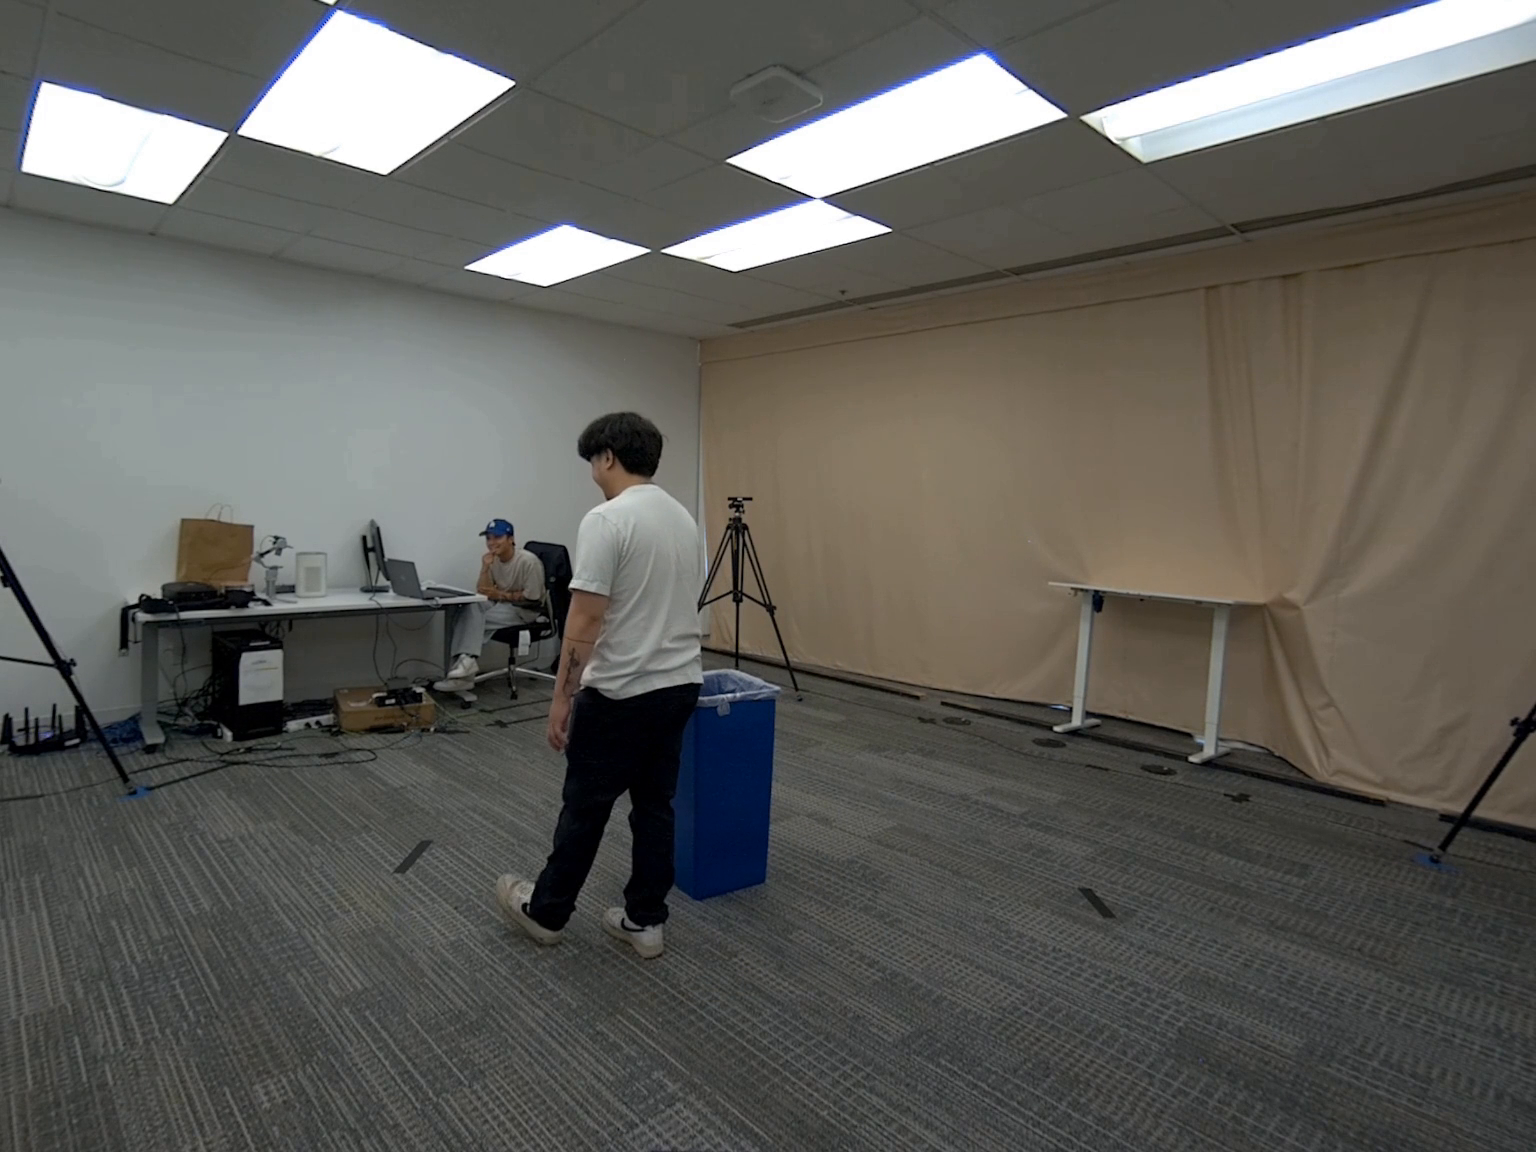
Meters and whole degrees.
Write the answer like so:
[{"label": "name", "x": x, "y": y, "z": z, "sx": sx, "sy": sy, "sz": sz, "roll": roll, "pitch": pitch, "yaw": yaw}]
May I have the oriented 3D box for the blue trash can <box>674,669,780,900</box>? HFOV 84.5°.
[{"label": "blue trash can", "x": -0.214, "y": 0.748, "z": 3.095, "sx": 0.370, "sy": 0.712, "sz": 0.383, "roll": -1, "pitch": 4, "yaw": -34}]
